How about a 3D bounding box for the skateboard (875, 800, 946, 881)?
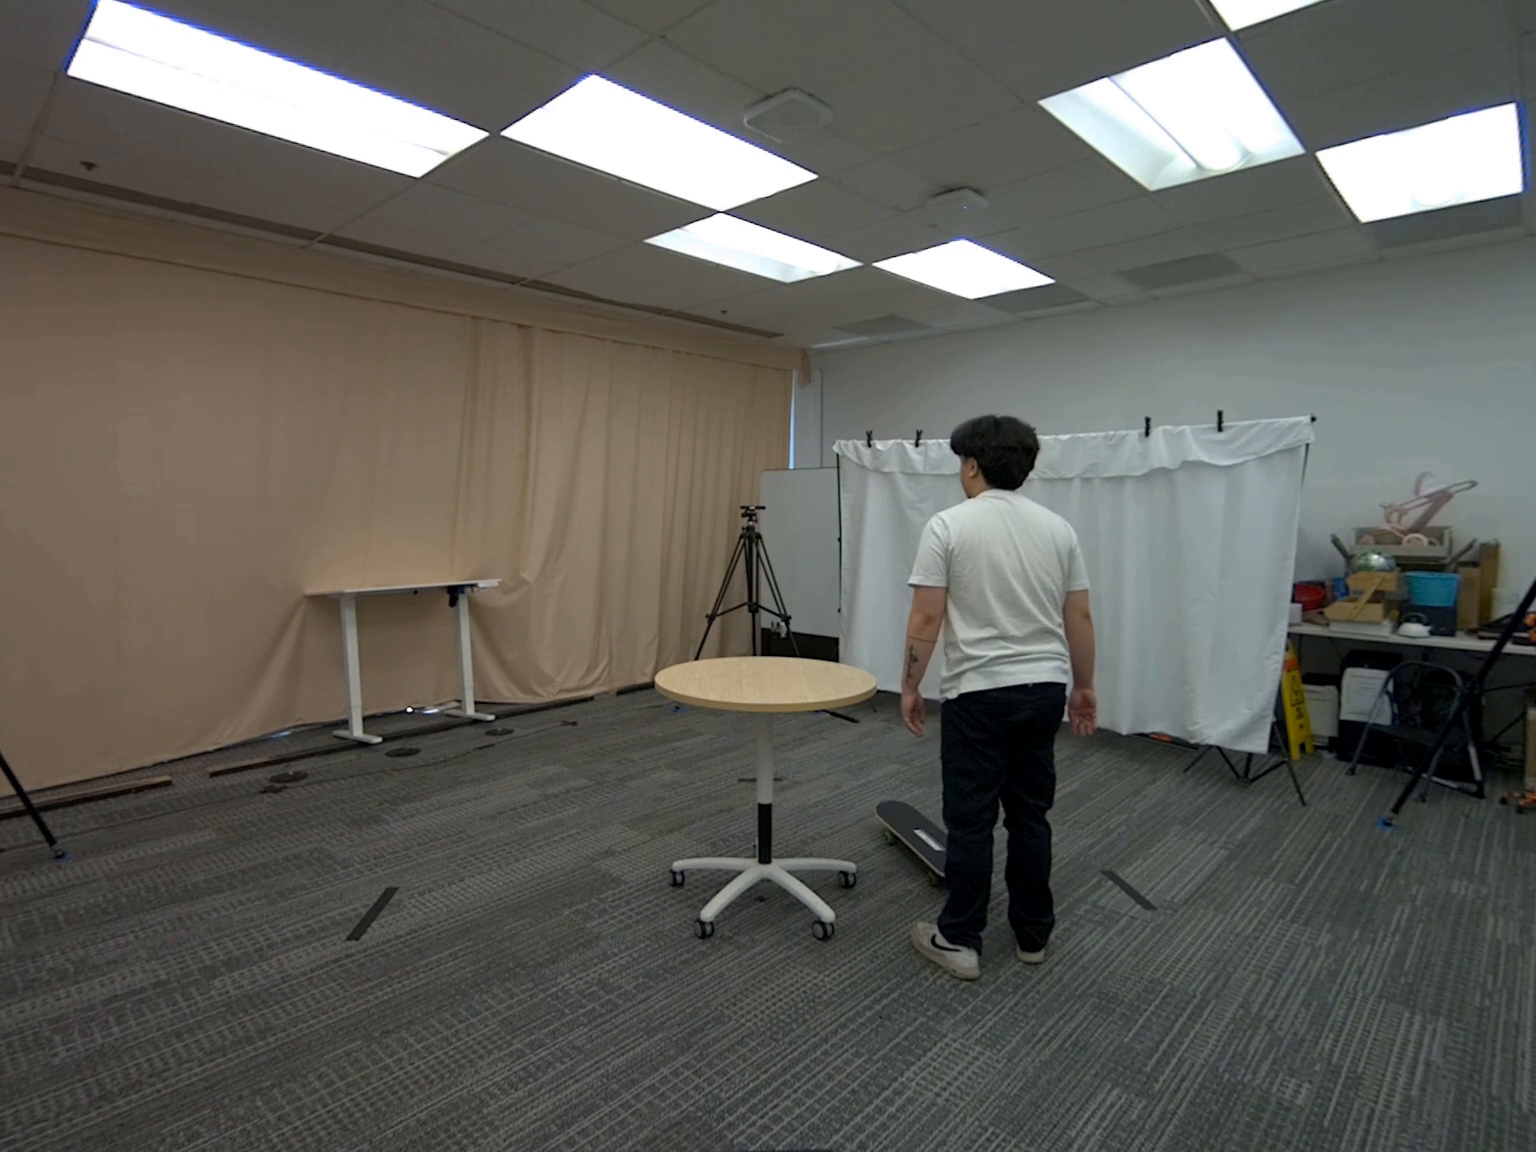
[{"bbox_3d":[0.628,1.059,3.288,0.191,0.110,0.798,-1,5,-15],"label":"skateboard"}]
